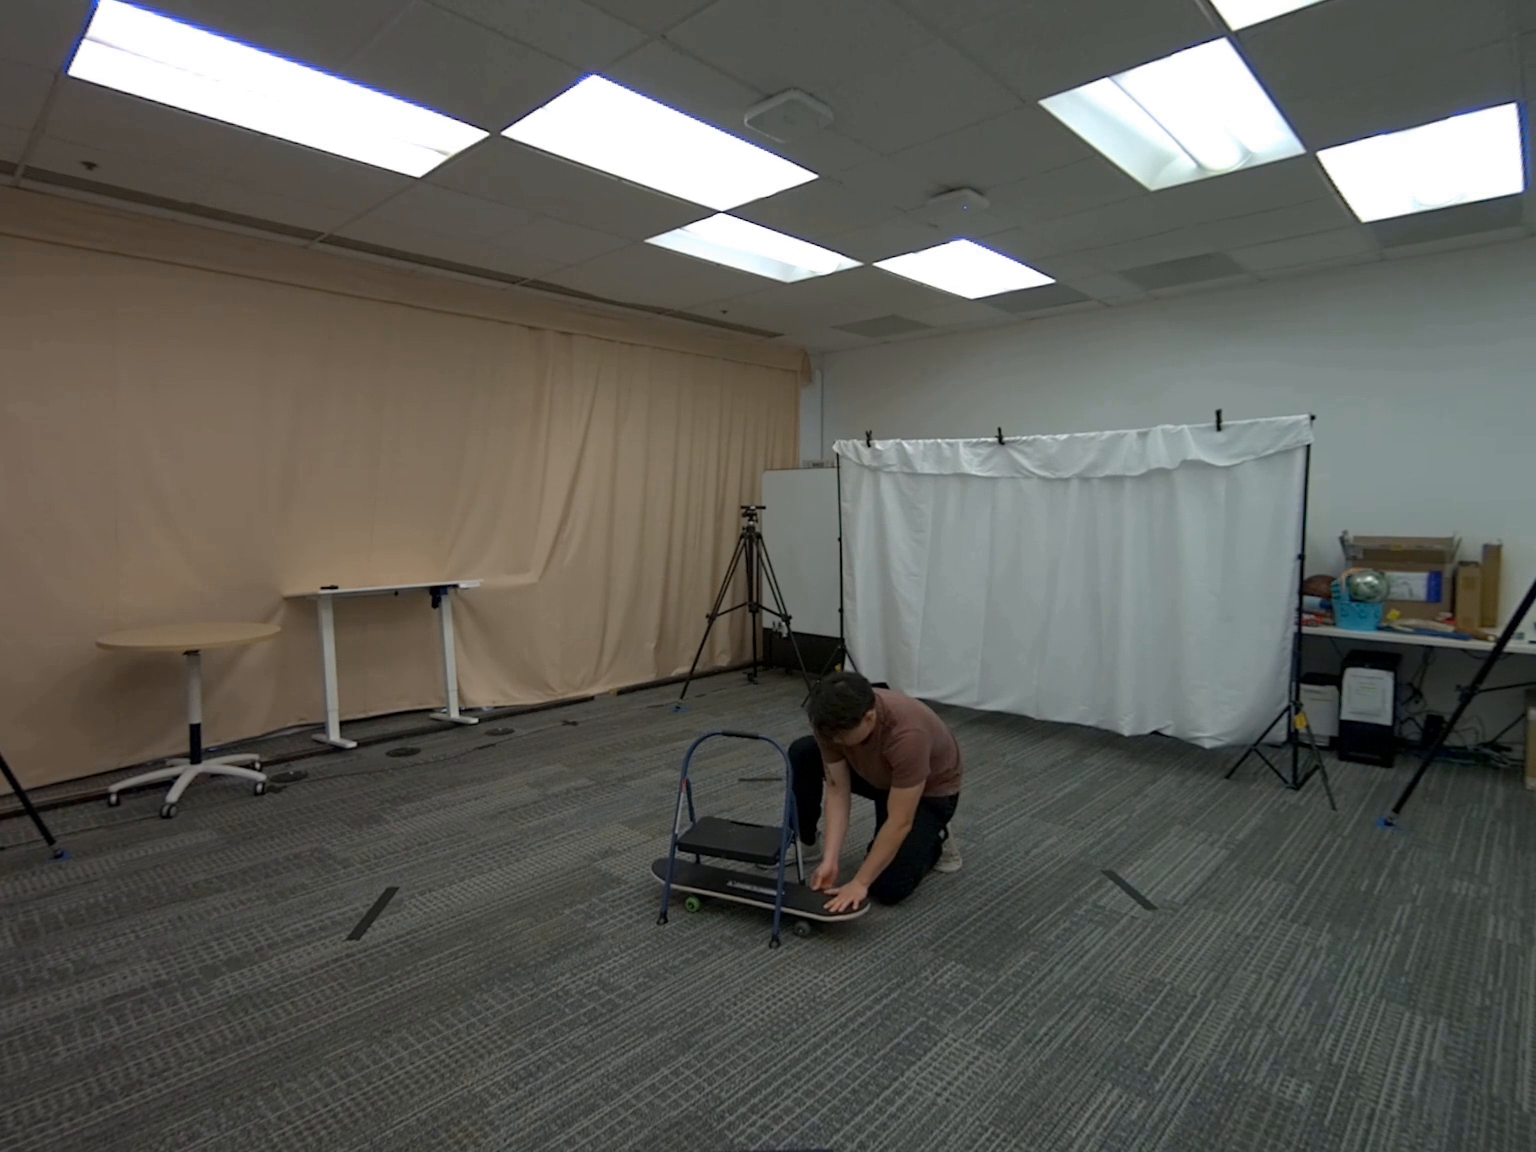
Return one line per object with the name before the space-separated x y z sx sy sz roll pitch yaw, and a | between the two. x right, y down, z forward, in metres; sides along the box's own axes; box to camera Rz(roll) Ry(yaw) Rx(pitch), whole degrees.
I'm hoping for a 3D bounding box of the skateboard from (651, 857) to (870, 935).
skateboard | -0.053 1.092 2.873 0.804 0.110 0.189 2 4 23
